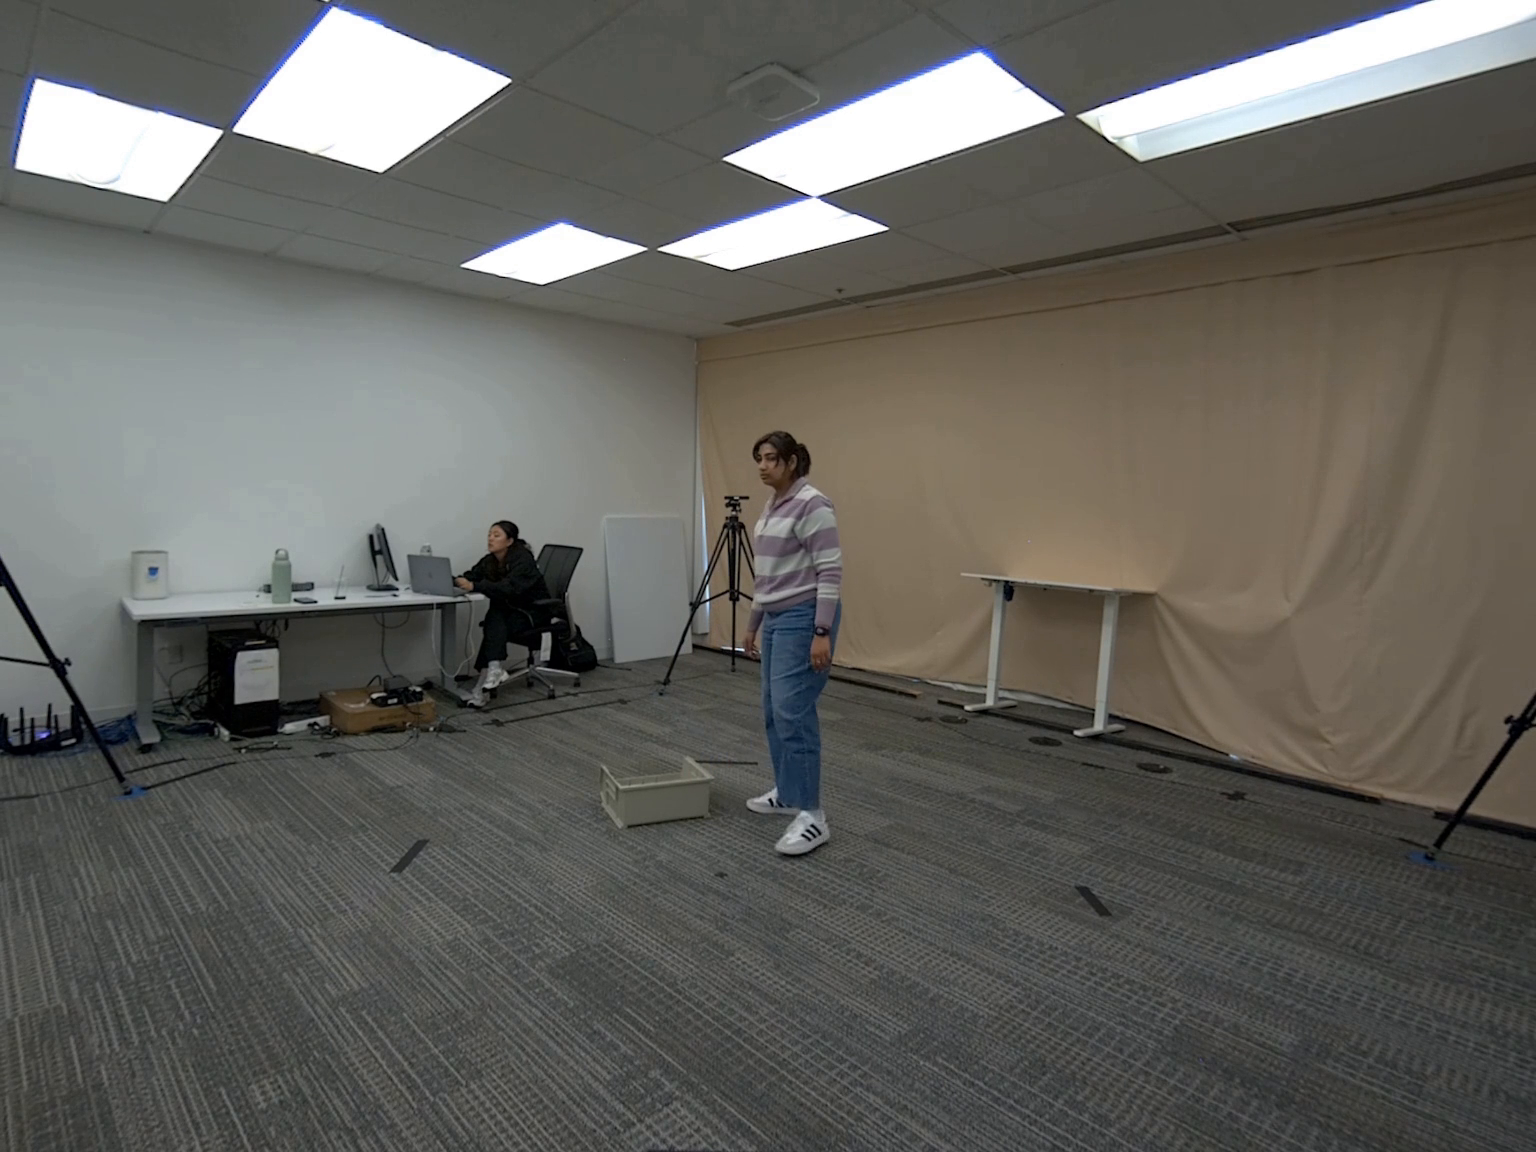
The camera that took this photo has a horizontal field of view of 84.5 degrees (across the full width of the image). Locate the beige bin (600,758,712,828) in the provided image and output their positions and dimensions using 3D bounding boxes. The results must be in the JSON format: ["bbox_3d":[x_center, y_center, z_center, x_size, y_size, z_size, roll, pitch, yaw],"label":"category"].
[{"bbox_3d":[-0.511,0.946,3.746,0.415,0.188,0.385,0,6,-25],"label":"beige bin"}]
